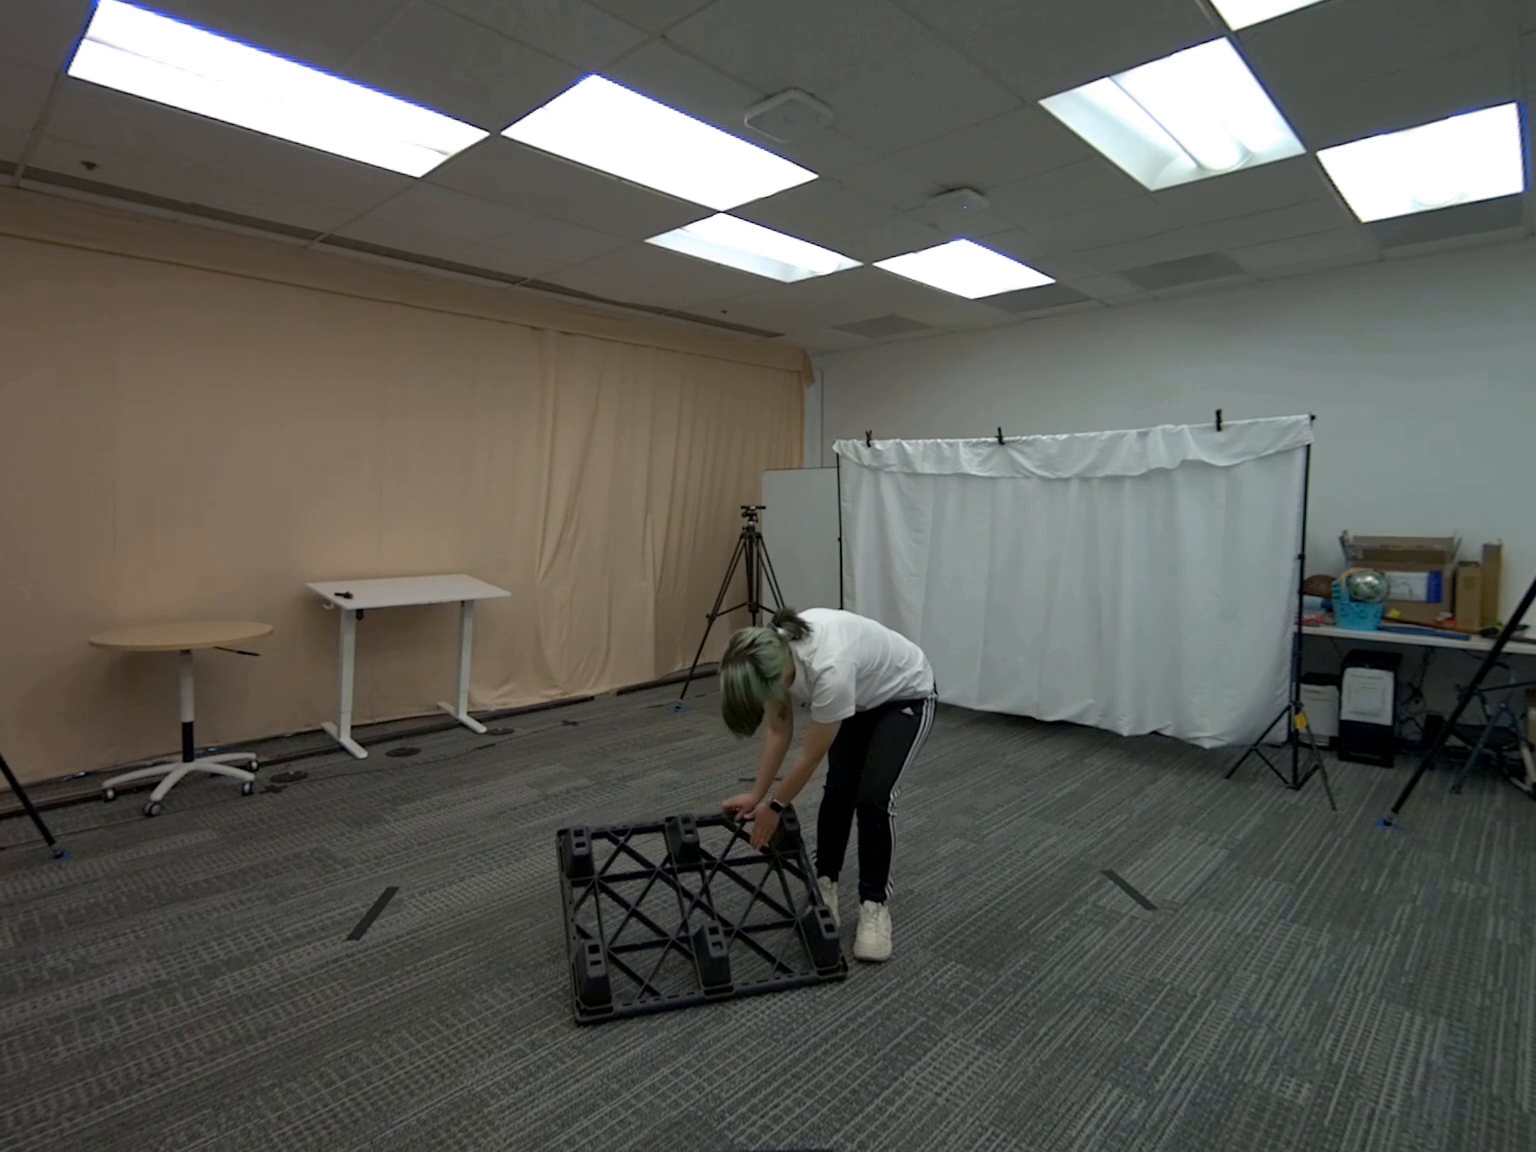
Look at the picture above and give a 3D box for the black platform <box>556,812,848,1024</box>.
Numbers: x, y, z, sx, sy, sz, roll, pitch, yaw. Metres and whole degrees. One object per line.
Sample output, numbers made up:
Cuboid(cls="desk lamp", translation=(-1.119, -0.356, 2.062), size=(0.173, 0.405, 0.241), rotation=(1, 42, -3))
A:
Cuboid(cls="black platform", translation=(-0.217, 0.968, 2.544), size=(0.792, 0.141, 0.623), rotation=(-3, 37, -17))
